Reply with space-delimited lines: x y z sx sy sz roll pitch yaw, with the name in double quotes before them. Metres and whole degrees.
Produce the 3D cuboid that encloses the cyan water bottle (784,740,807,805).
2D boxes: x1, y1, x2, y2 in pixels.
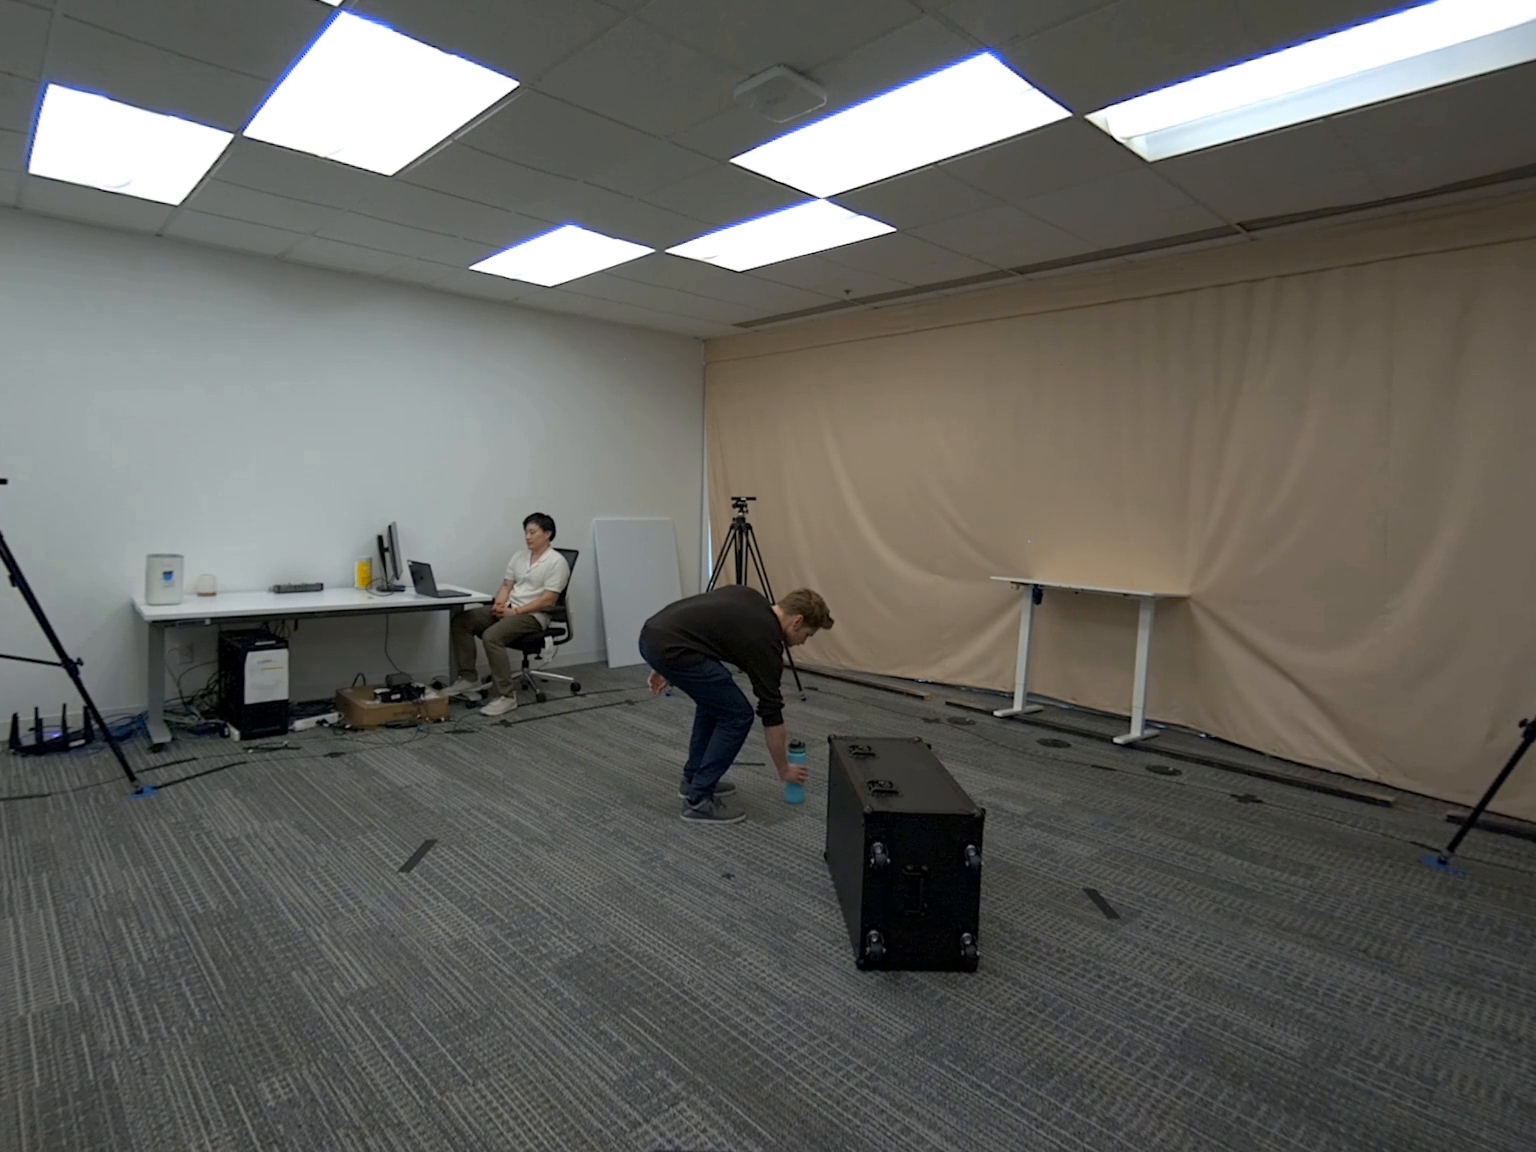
"cyan water bottle" 0.121 0.905 3.930 0.092 0.283 0.092 5 0 -1
